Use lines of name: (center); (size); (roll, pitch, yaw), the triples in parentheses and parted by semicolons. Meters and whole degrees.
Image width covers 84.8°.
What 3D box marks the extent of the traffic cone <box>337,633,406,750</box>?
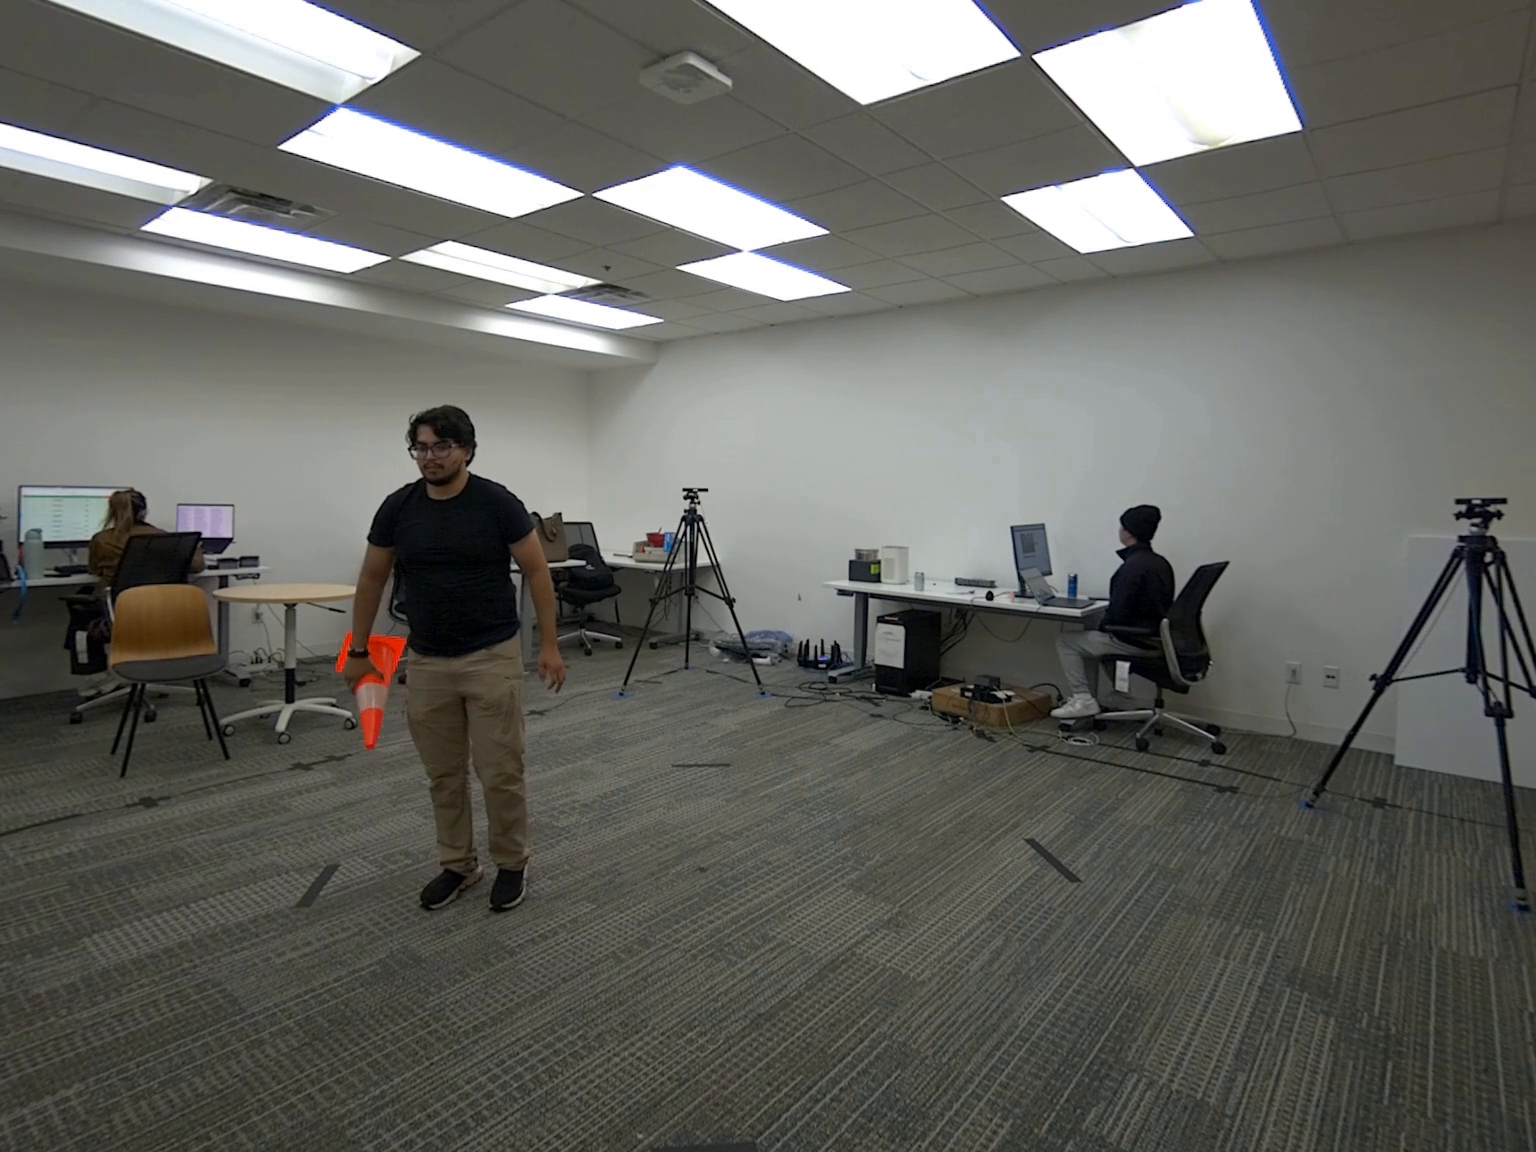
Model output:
traffic cone: (-1.339, 0.410, 2.834); (0.197, 0.204, 0.398); (10, 41, -31)
